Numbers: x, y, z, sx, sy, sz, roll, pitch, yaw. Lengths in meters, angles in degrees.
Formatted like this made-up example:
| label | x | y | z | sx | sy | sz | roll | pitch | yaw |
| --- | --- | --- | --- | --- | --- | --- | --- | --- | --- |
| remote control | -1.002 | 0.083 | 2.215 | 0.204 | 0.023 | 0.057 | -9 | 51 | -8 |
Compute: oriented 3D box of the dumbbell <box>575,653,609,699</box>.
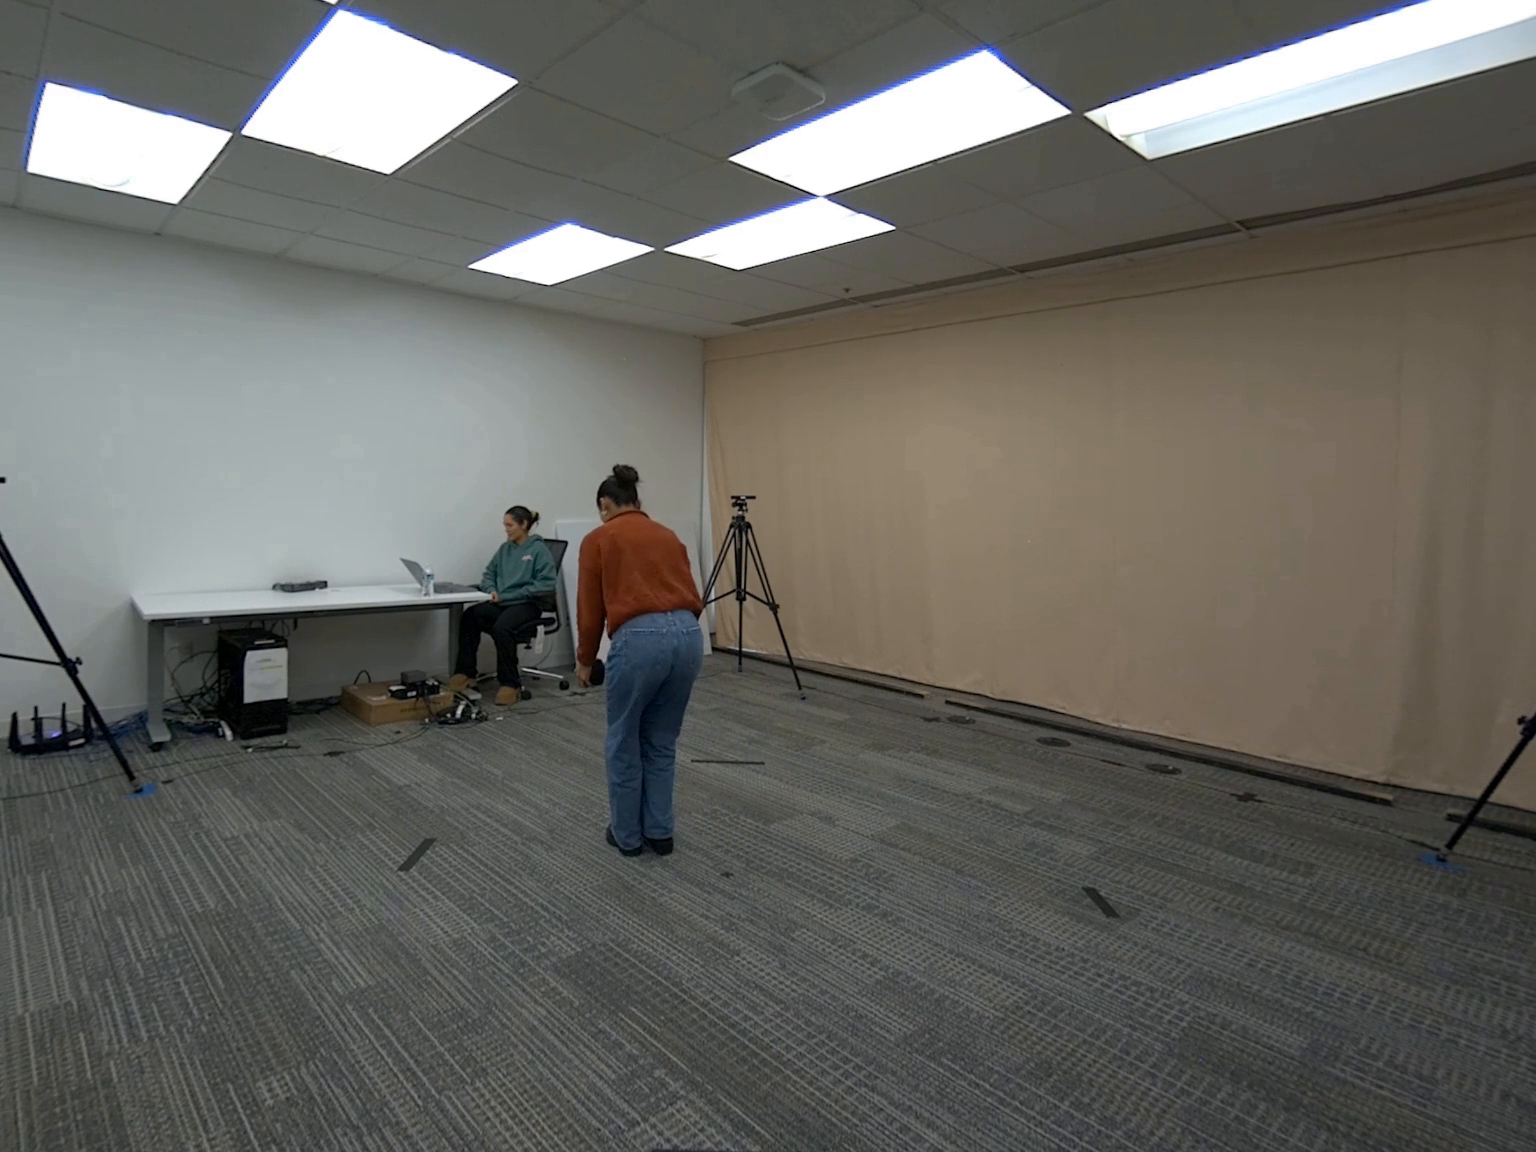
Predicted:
| label | x | y | z | sx | sy | sz | roll | pitch | yaw |
| --- | --- | --- | --- | --- | --- | --- | --- | --- | --- |
| dumbbell | -0.620 | 0.393 | 3.444 | 0.288 | 0.121 | 0.112 | -4 | 30 | -31 |
